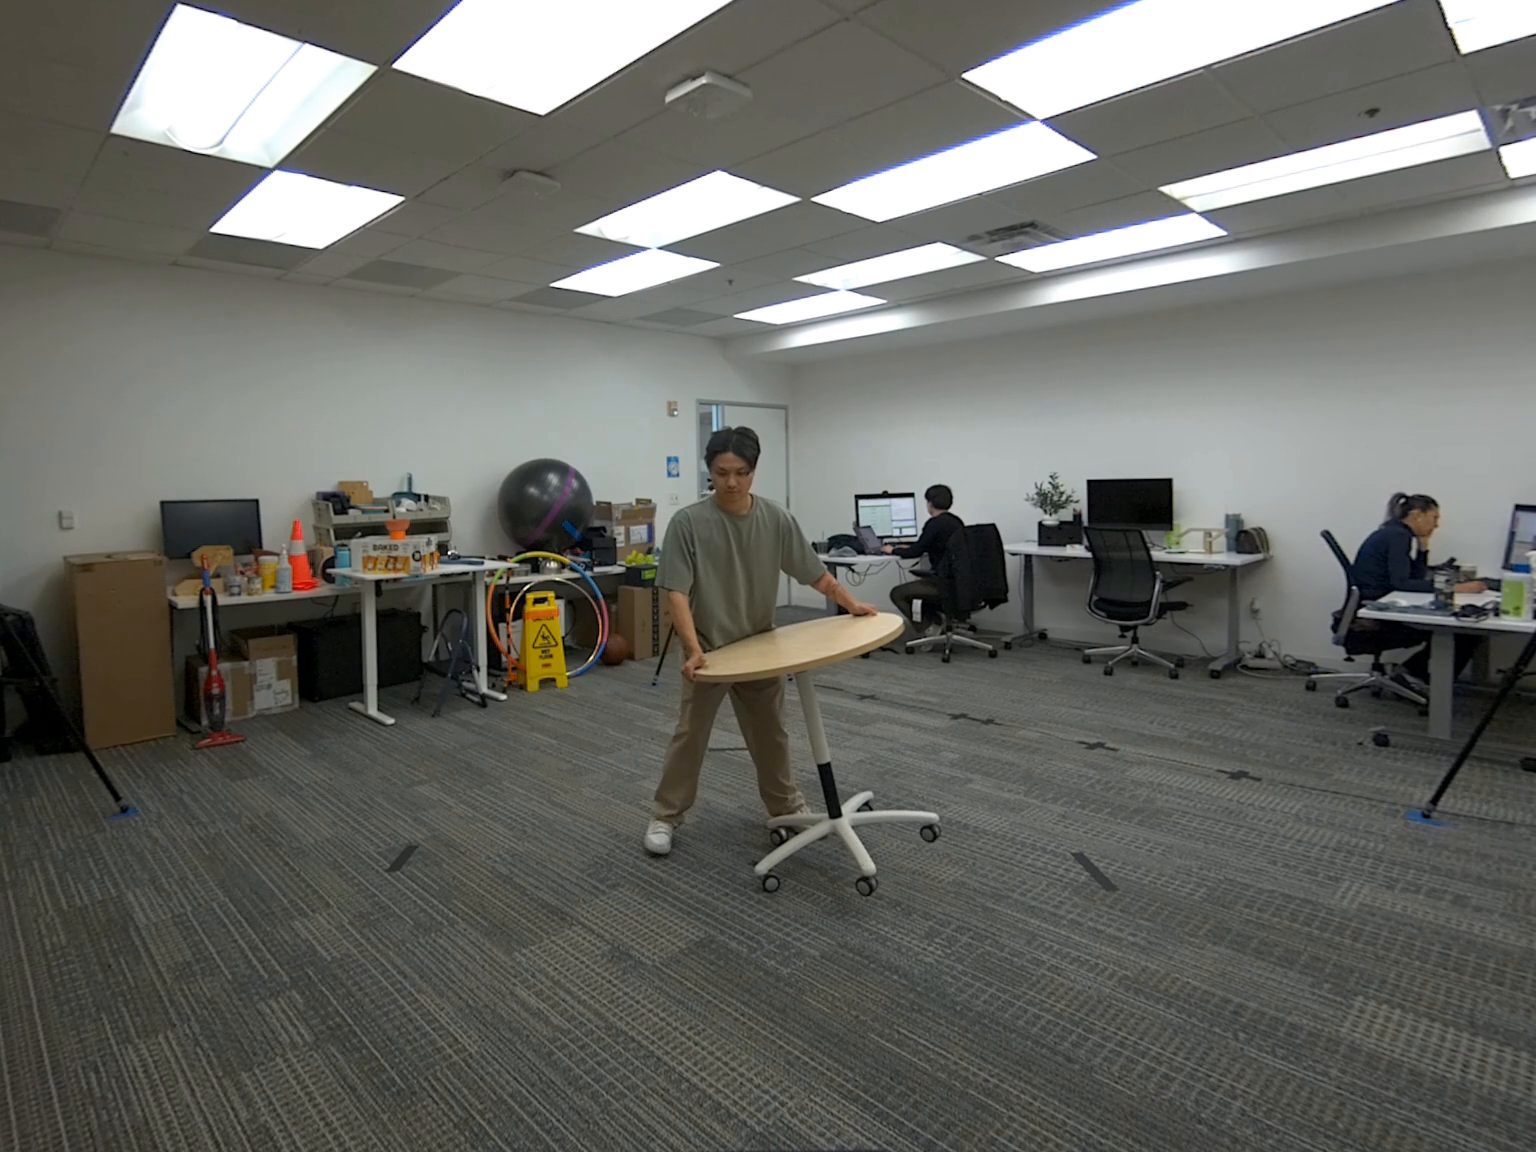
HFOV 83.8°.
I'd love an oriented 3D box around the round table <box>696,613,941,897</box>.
[{"bbox_3d":[0.199,0.609,3.023,0.785,0.784,0.788,-13,4,-1],"label":"round table"}]
